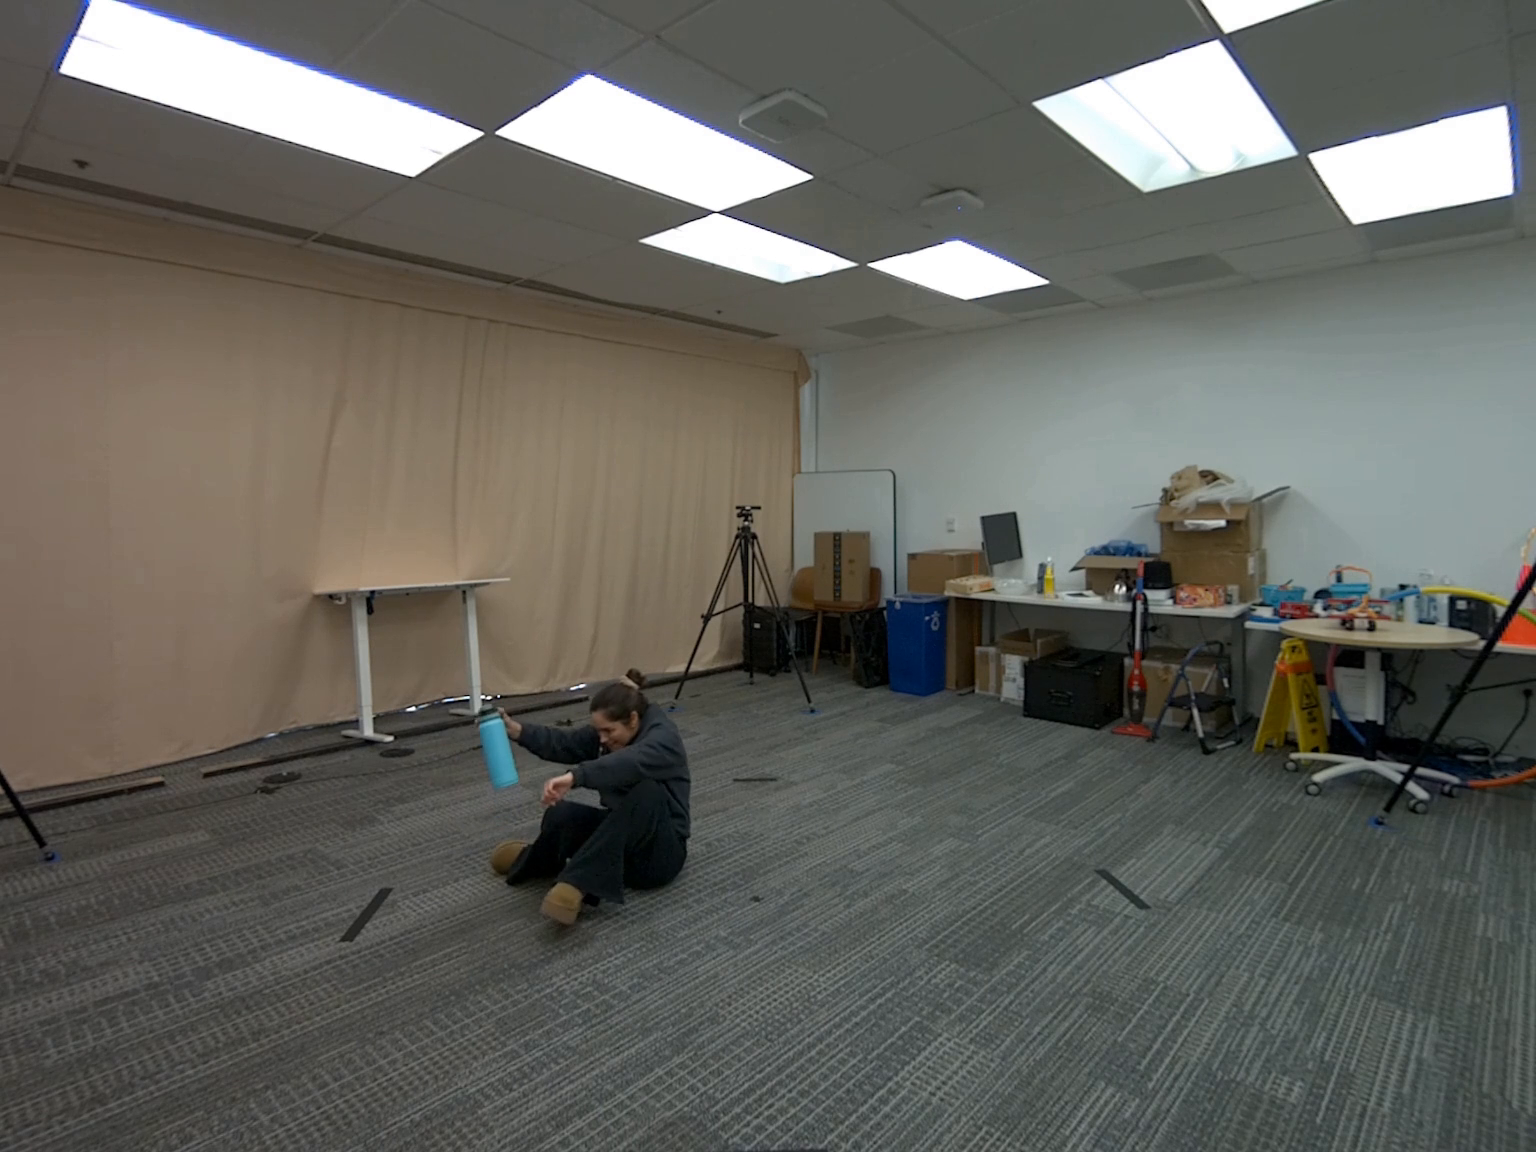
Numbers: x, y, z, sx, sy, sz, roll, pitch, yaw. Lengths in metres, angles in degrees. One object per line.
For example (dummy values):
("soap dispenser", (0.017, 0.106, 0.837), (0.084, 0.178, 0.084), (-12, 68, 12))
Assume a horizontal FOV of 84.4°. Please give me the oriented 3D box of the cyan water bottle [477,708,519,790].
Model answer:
("cyan water bottle", (-0.920, 0.595, 2.918), (0.092, 0.286, 0.092), (-17, -9, -4))
